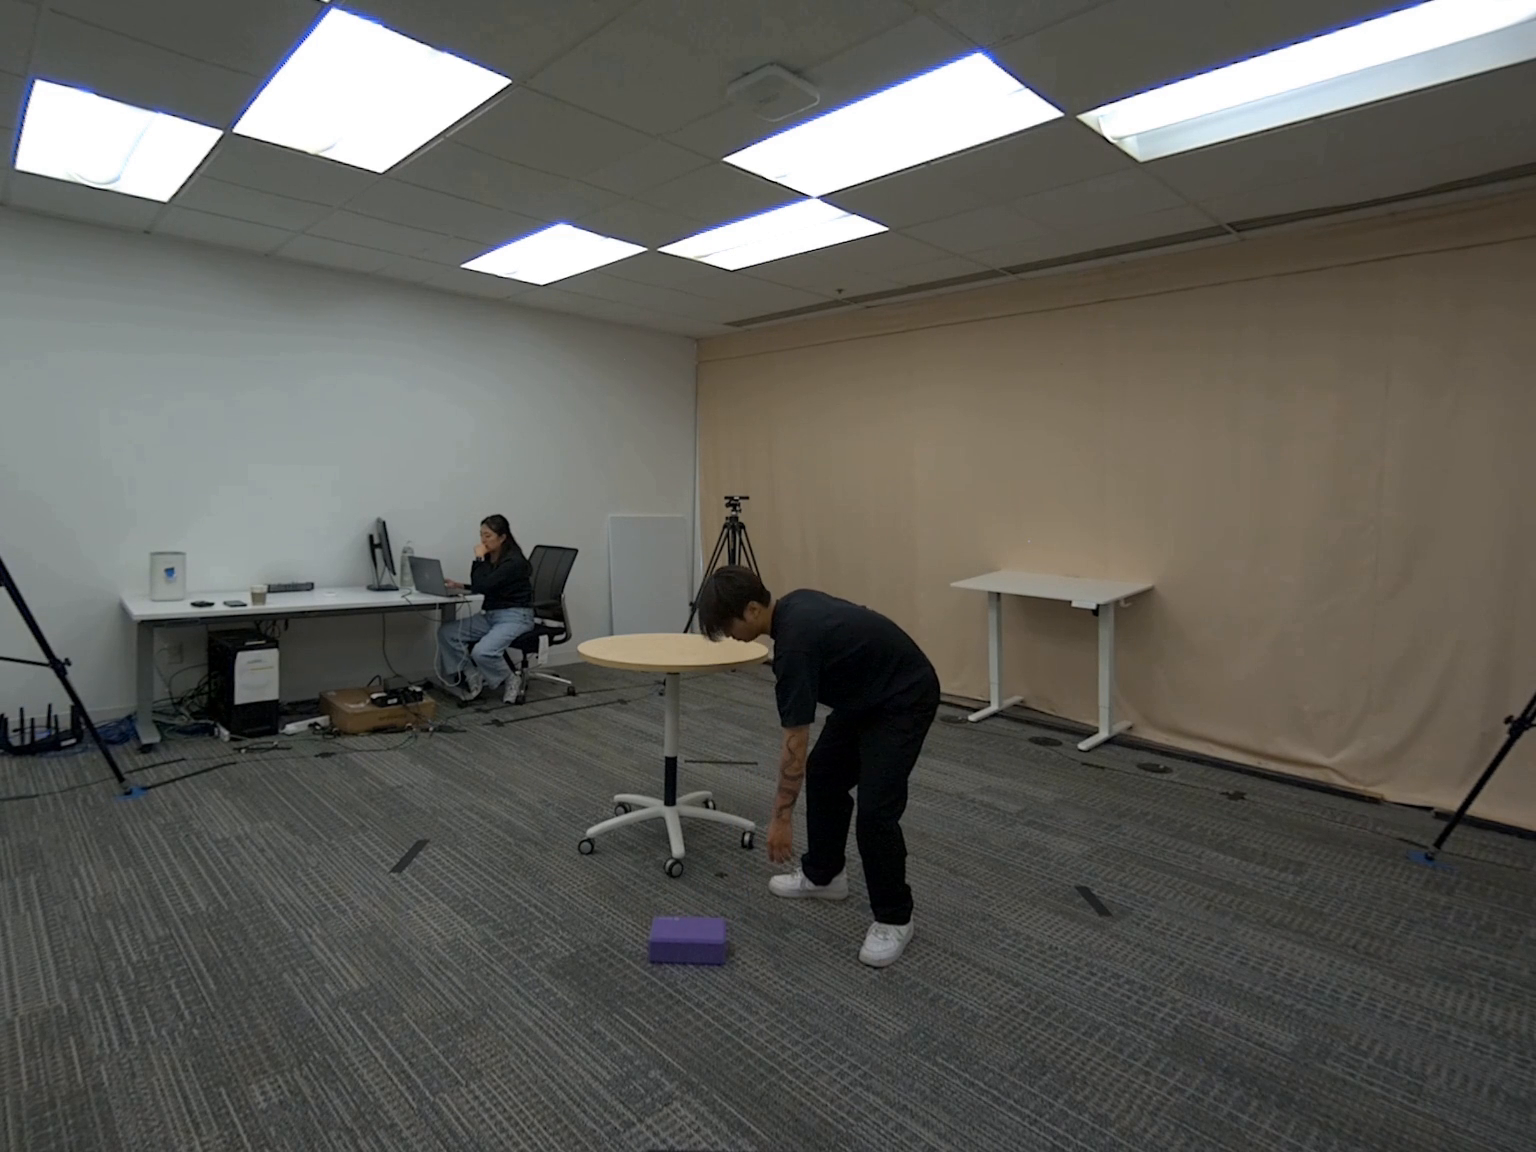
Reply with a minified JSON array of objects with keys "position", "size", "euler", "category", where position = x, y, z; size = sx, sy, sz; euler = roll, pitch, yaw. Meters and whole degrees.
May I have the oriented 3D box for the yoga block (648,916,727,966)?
[{"position":[-0.248,1.110,2.569],"size":[0.229,0.076,0.149],"euler":[1,4,1],"category":"yoga block"}]
